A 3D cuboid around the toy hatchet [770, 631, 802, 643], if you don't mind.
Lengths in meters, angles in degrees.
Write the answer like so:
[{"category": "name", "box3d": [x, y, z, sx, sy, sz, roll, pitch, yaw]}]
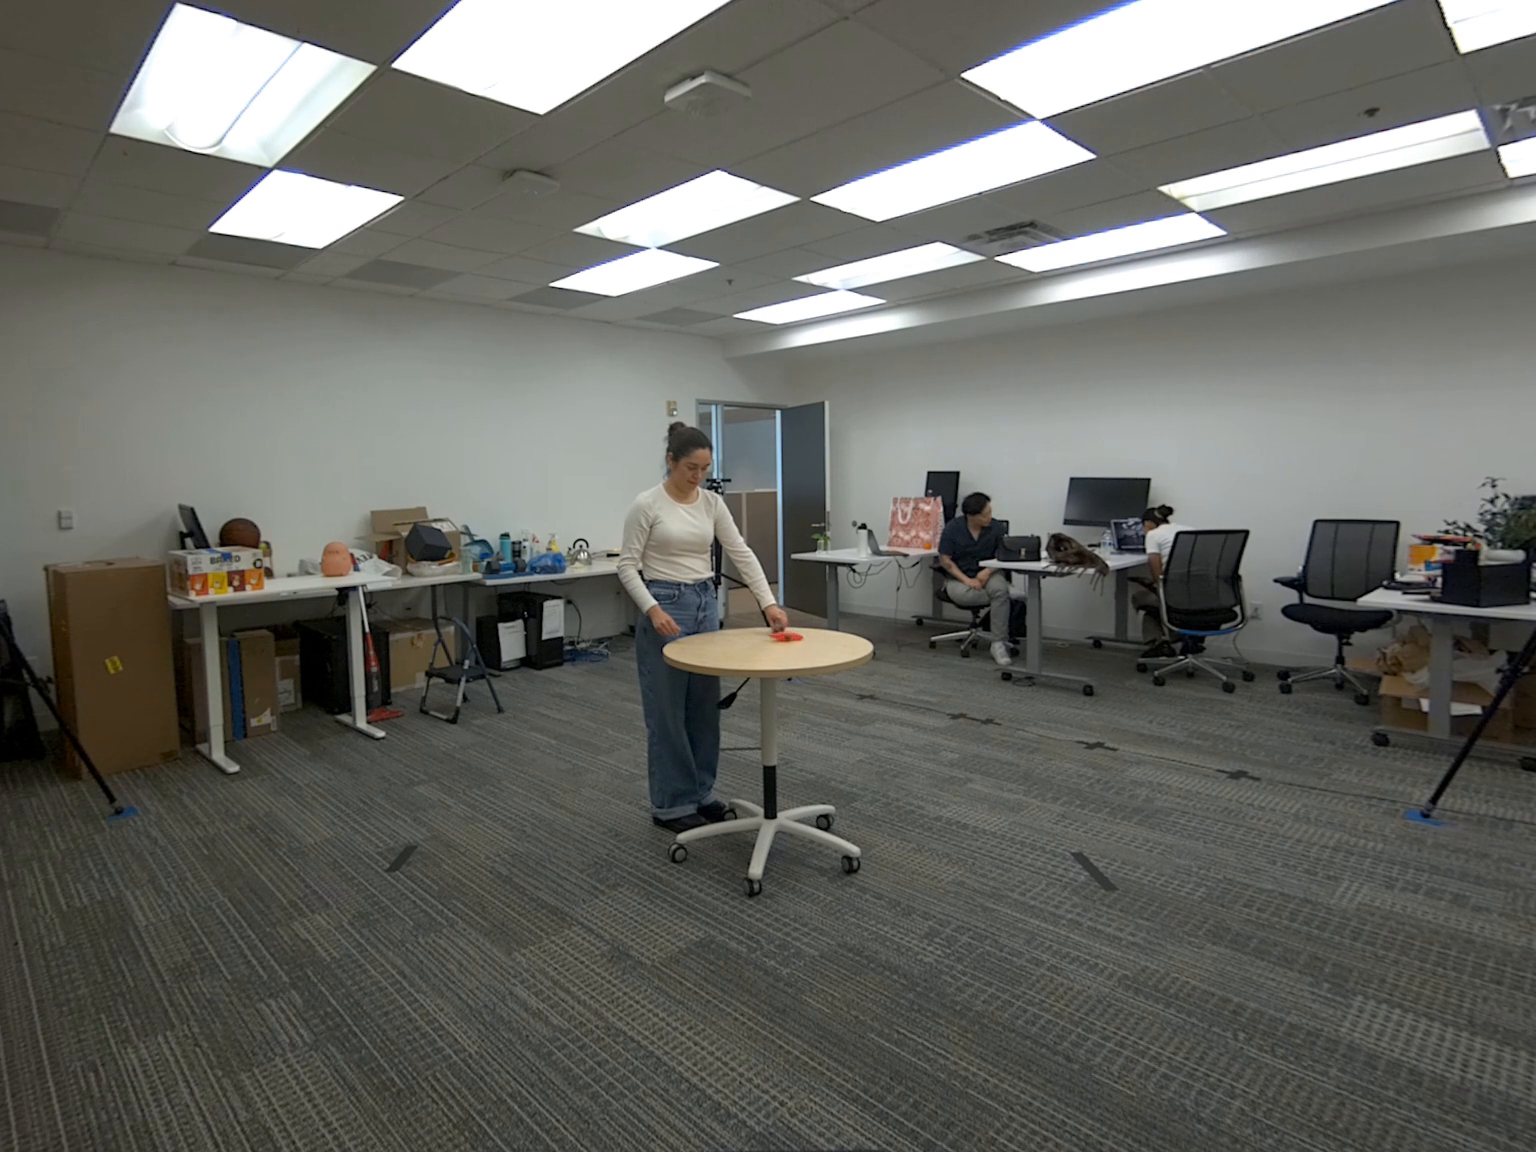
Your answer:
[{"category": "toy hatchet", "box3d": [0.068, 0.217, 3.338, 0.132, 0.029, 0.269, 3, 7, 5]}]
